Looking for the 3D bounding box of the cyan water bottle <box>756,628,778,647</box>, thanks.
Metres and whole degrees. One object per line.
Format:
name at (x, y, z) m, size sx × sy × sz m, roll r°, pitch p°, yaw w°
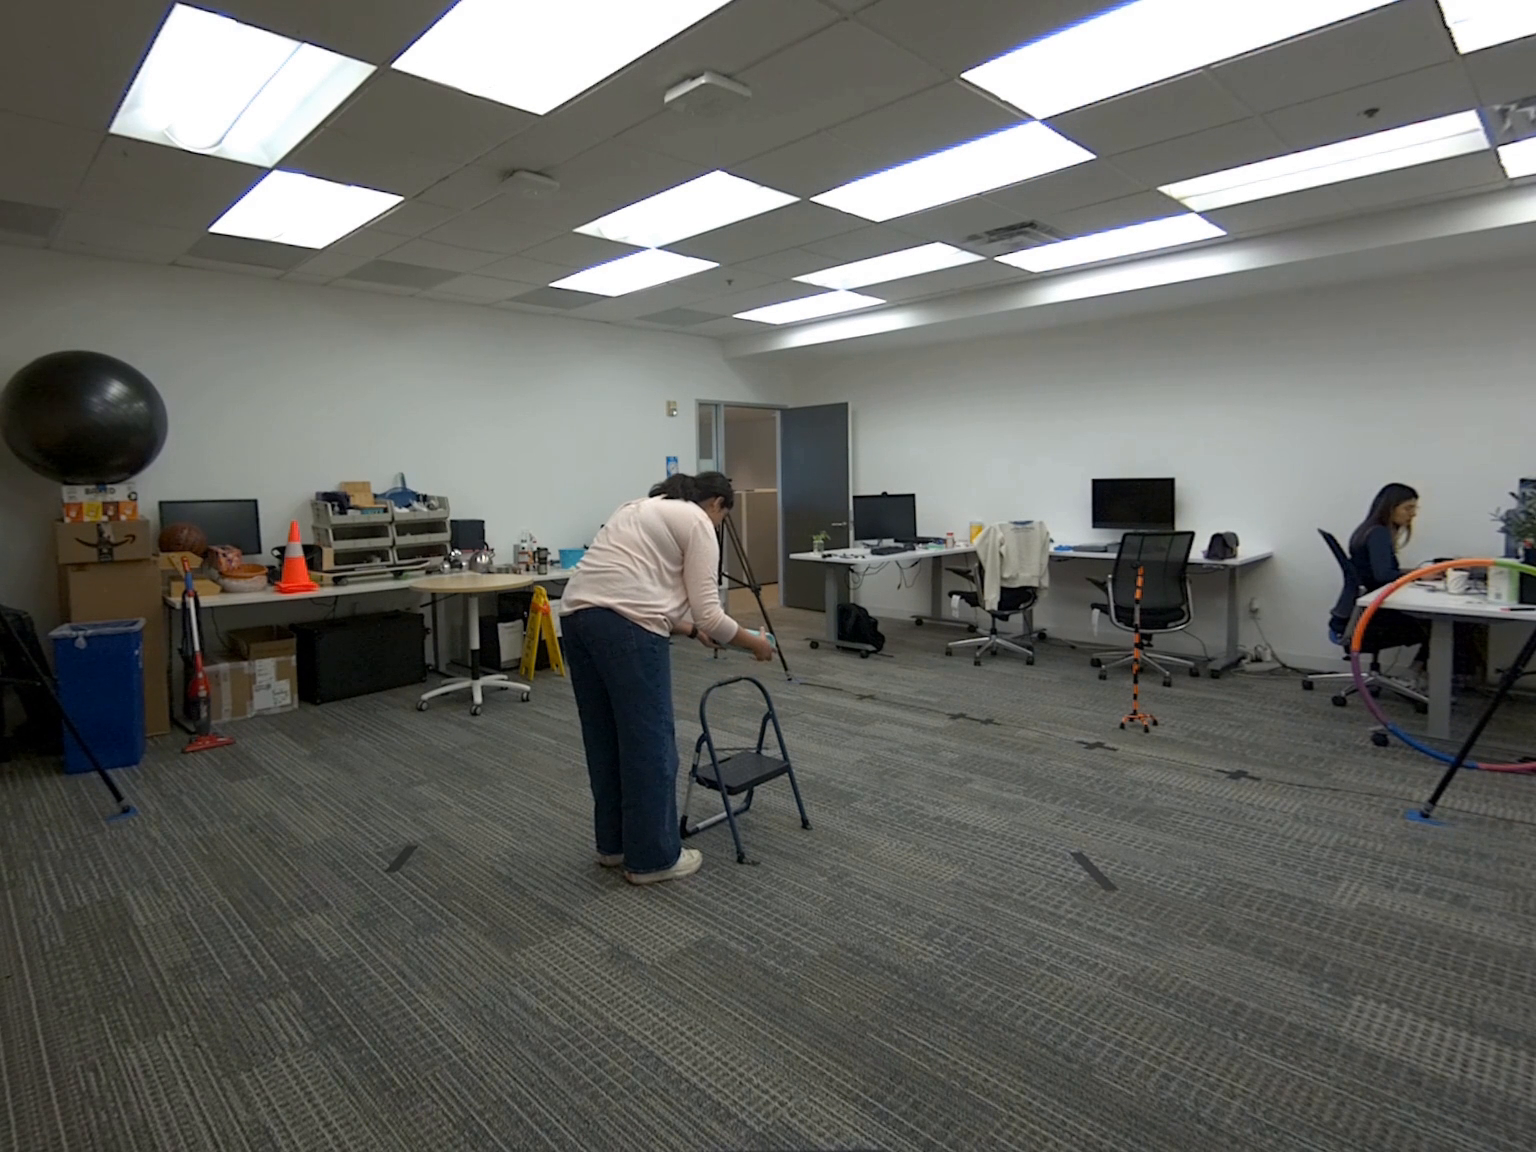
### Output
cyan water bottle at (-0.103, 0.246, 3.279) m, size 0.090 × 0.092 × 0.292 m, roll -6°, pitch 9°, yaw -43°
